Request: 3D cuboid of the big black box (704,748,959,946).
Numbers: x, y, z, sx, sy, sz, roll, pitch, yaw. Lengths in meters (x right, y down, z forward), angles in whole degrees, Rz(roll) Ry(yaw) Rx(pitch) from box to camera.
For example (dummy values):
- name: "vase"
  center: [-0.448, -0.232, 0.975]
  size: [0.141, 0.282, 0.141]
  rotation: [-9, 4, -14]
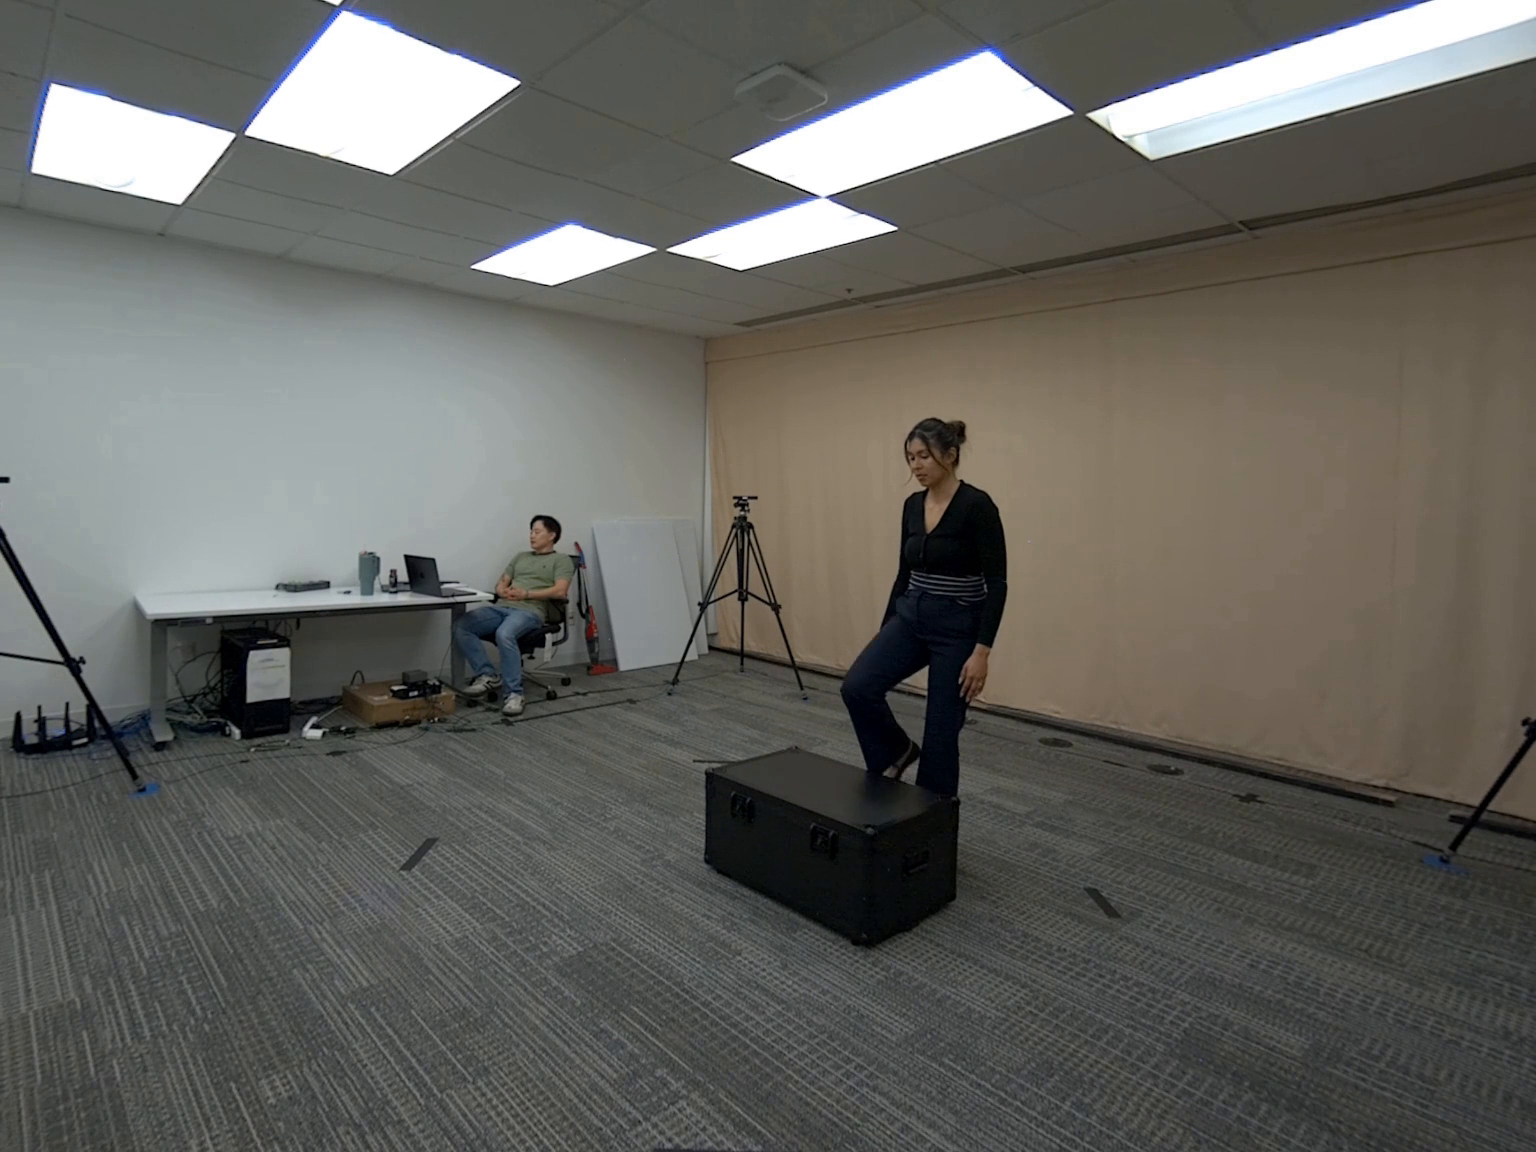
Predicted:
- name: "big black box"
  center: [0.217, 0.932, 2.990]
  size: [0.509, 0.395, 0.884]
  rotation: [-3, 6, -43]
